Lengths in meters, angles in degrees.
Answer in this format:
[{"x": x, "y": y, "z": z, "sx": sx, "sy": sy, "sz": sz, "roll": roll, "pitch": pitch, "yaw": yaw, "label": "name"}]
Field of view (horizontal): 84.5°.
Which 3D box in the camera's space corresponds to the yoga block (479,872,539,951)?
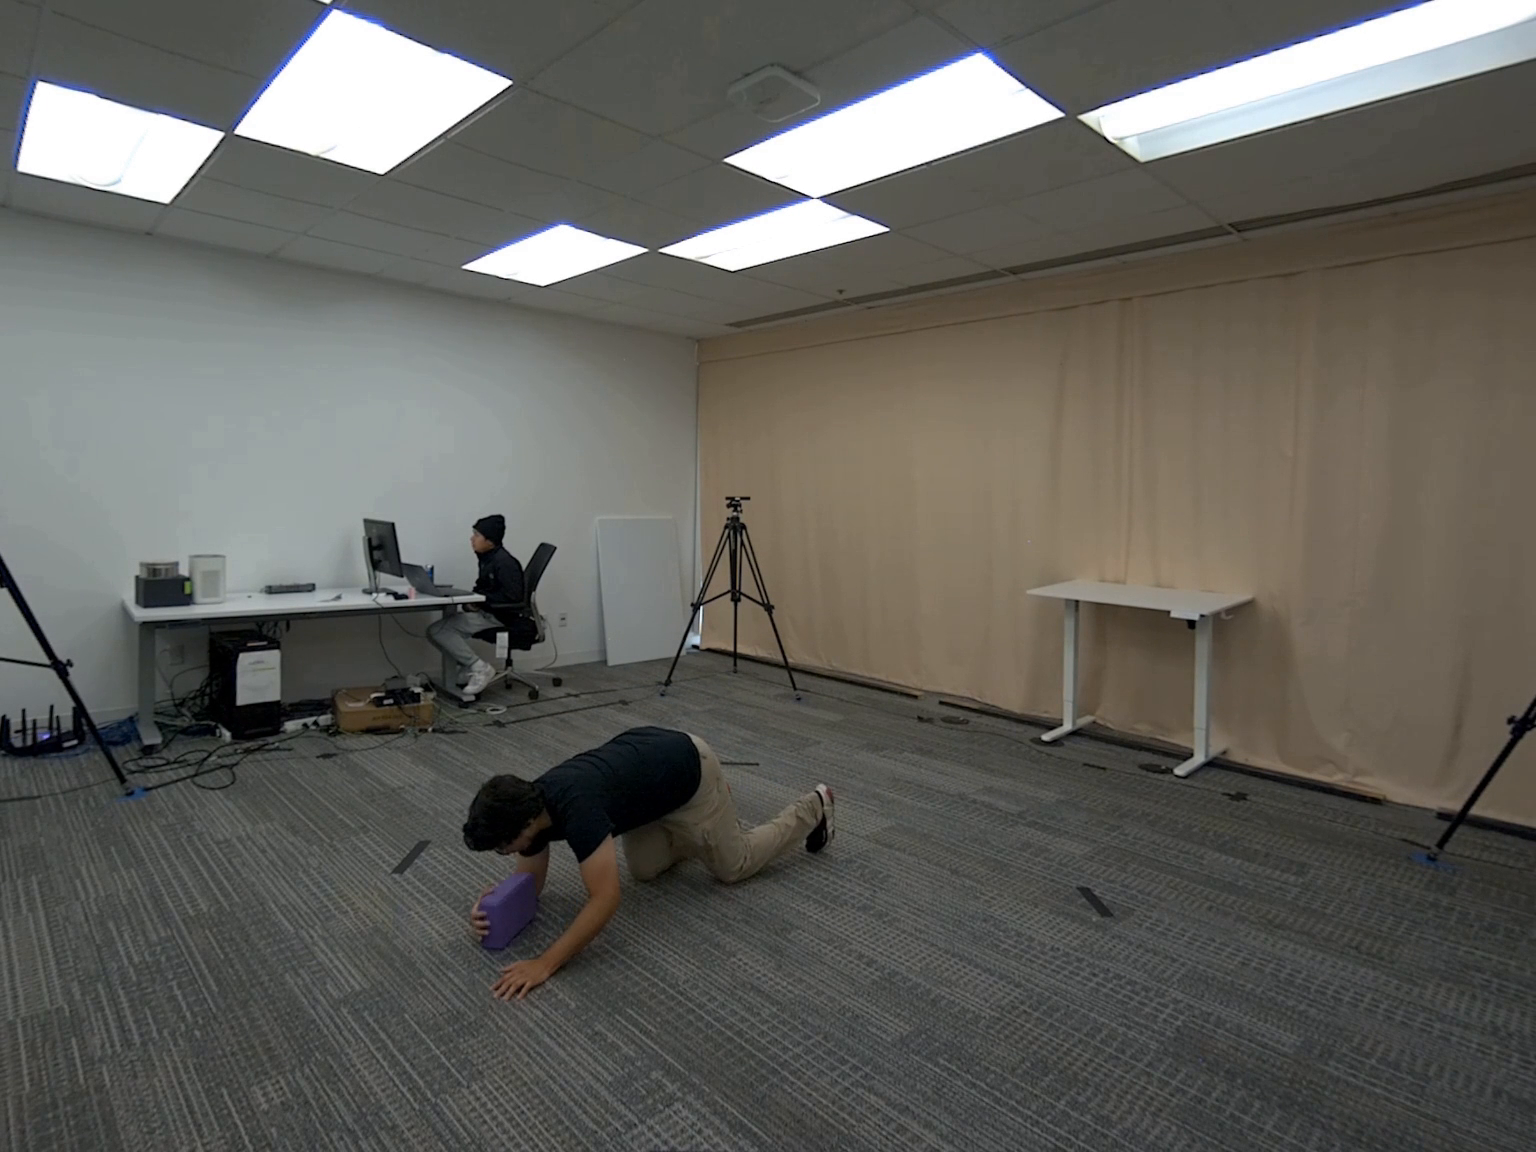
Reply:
[{"x": -0.840, "y": 1.058, "z": 2.668, "sx": 0.077, "sy": 0.148, "sz": 0.227, "roll": -2, "pitch": 4, "yaw": 14, "label": "yoga block"}]
